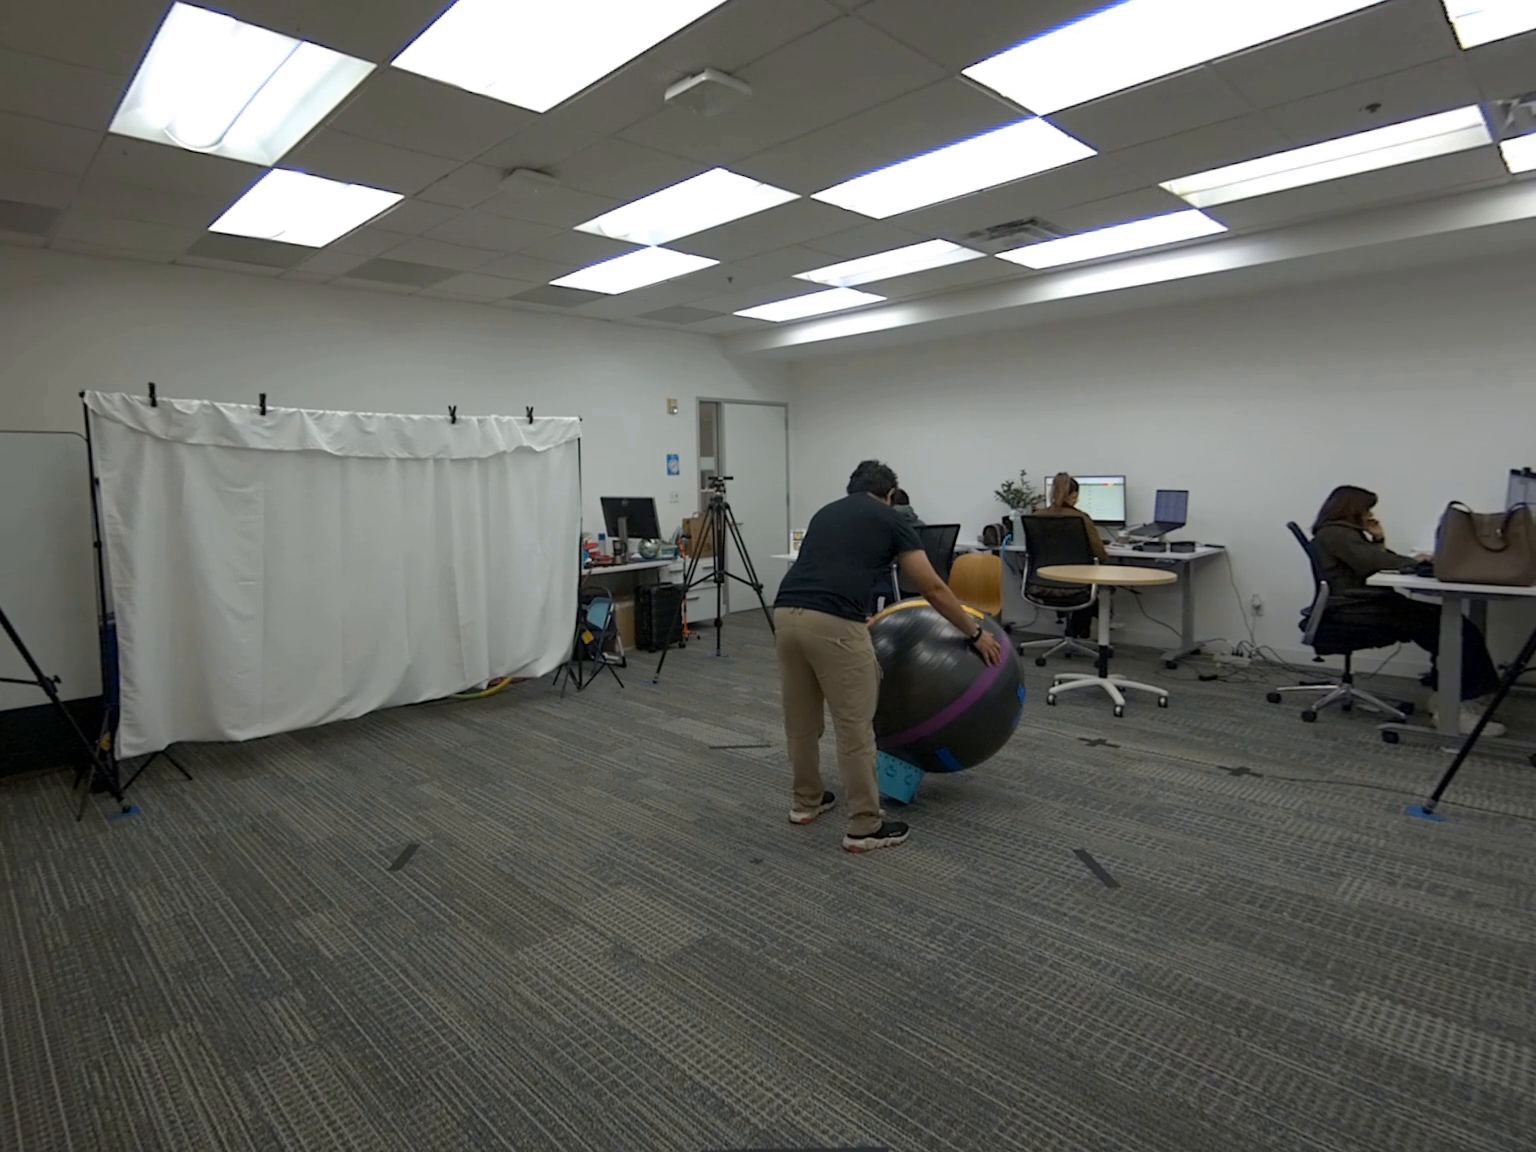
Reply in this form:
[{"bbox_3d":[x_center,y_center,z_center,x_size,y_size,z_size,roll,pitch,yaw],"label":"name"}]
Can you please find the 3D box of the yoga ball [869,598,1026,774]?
[{"bbox_3d":[0.730,0.472,3.725,0.757,0.755,0.762,-1,5,-2],"label":"yoga ball"}]
